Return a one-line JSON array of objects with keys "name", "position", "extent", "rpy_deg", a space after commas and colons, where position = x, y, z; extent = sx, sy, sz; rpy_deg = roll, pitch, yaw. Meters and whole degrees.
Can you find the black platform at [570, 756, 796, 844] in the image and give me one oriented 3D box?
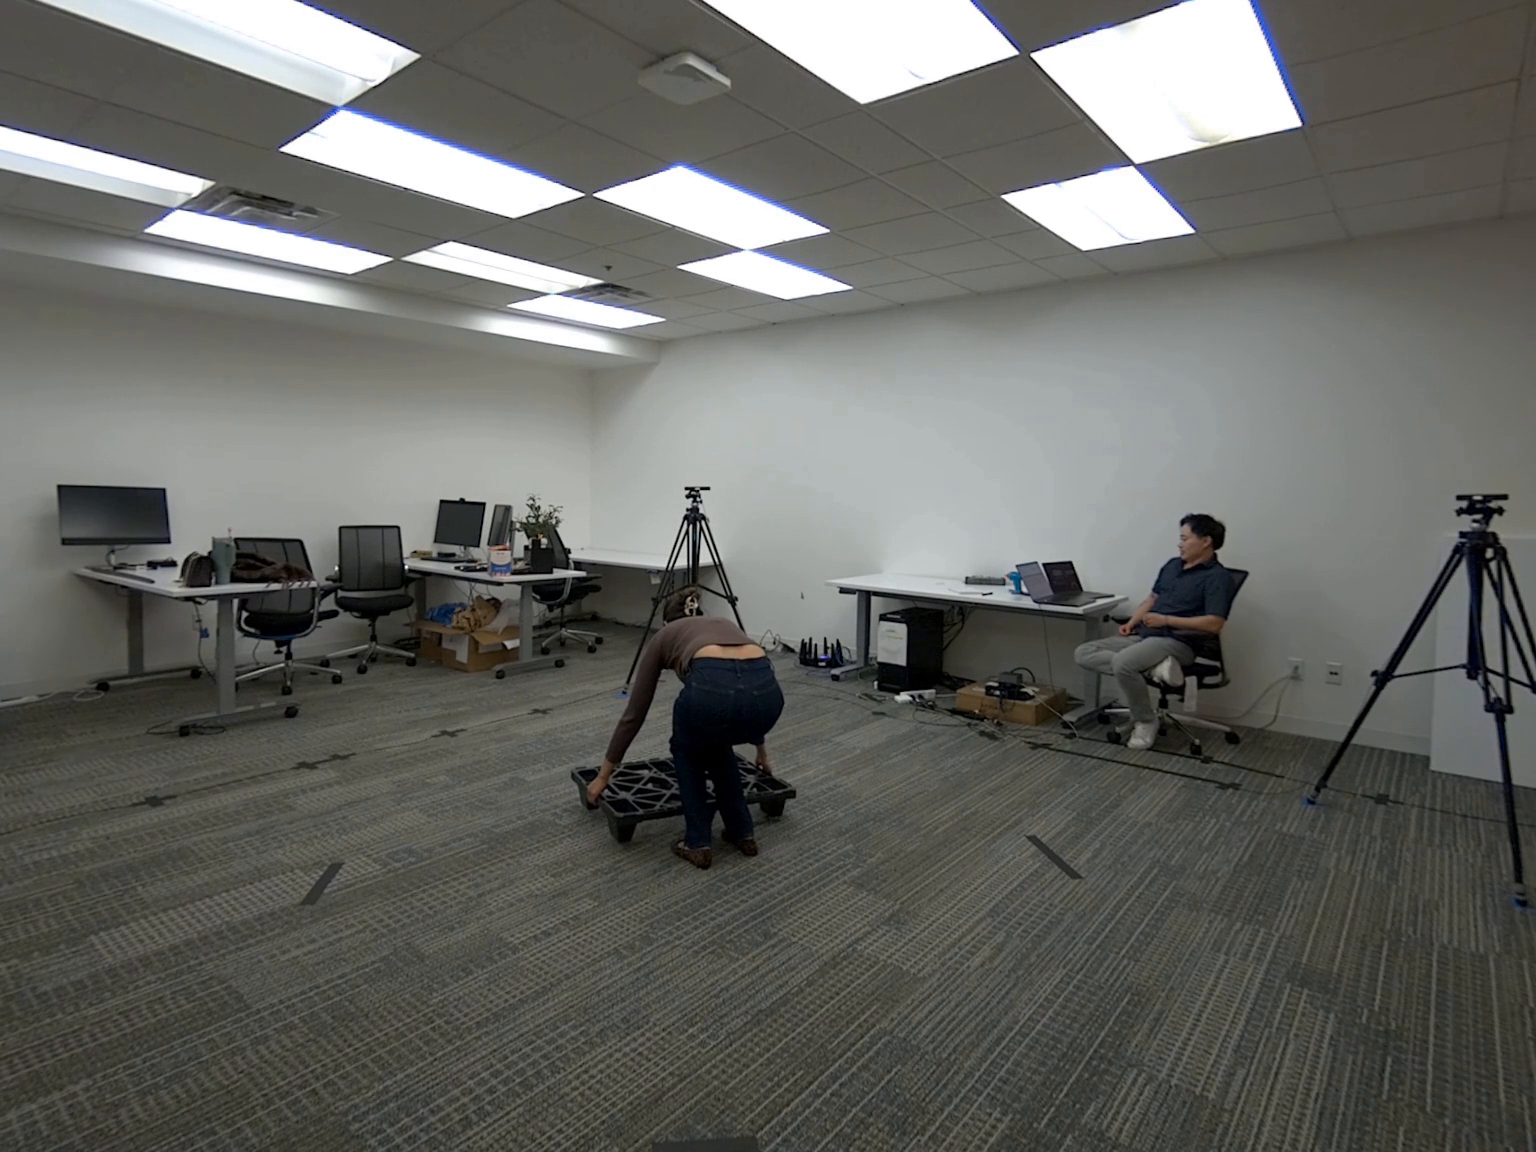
[{"name": "black platform", "position": [-0.379, 0.928, 3.631], "extent": [0.785, 0.143, 0.624], "rpy_deg": [-2, 7, -29]}]
